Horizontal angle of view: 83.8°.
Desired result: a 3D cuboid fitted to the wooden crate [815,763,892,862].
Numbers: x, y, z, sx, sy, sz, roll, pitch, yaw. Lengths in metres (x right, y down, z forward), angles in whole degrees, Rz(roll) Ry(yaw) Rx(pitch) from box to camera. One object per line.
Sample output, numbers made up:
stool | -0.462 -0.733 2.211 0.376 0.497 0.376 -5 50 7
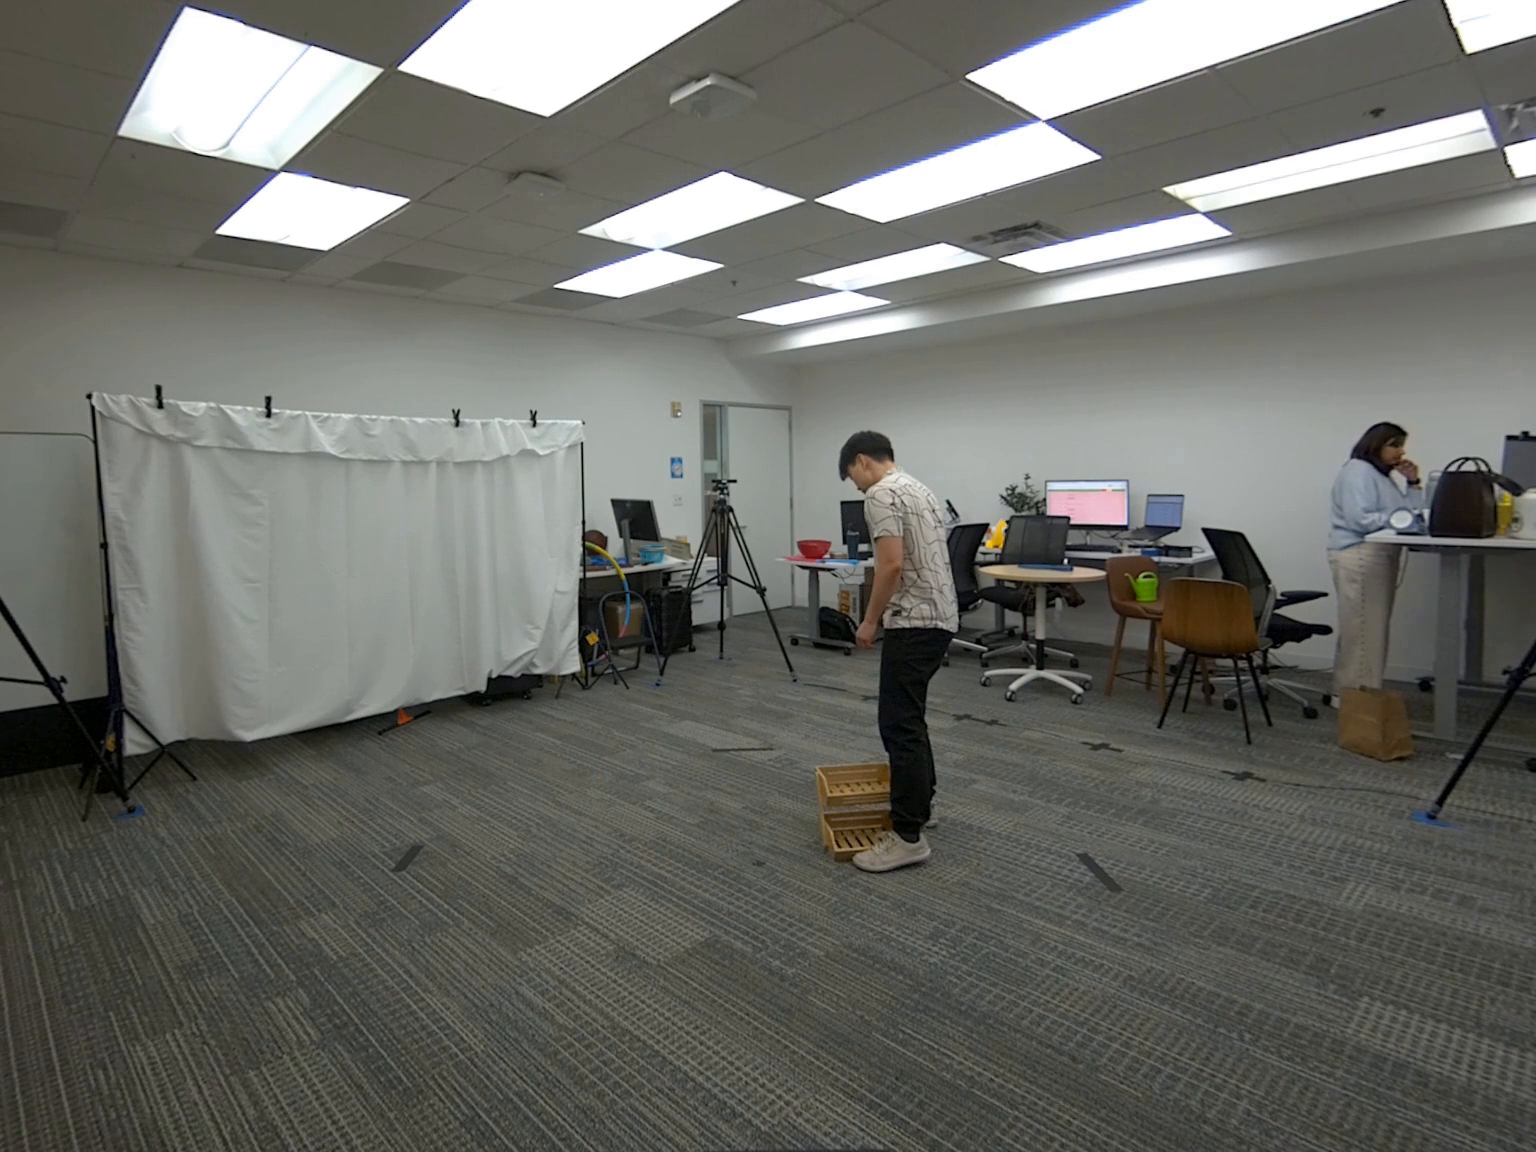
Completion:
wooden crate | 0.362 0.891 3.262 0.322 0.272 0.305 -1 4 -9
